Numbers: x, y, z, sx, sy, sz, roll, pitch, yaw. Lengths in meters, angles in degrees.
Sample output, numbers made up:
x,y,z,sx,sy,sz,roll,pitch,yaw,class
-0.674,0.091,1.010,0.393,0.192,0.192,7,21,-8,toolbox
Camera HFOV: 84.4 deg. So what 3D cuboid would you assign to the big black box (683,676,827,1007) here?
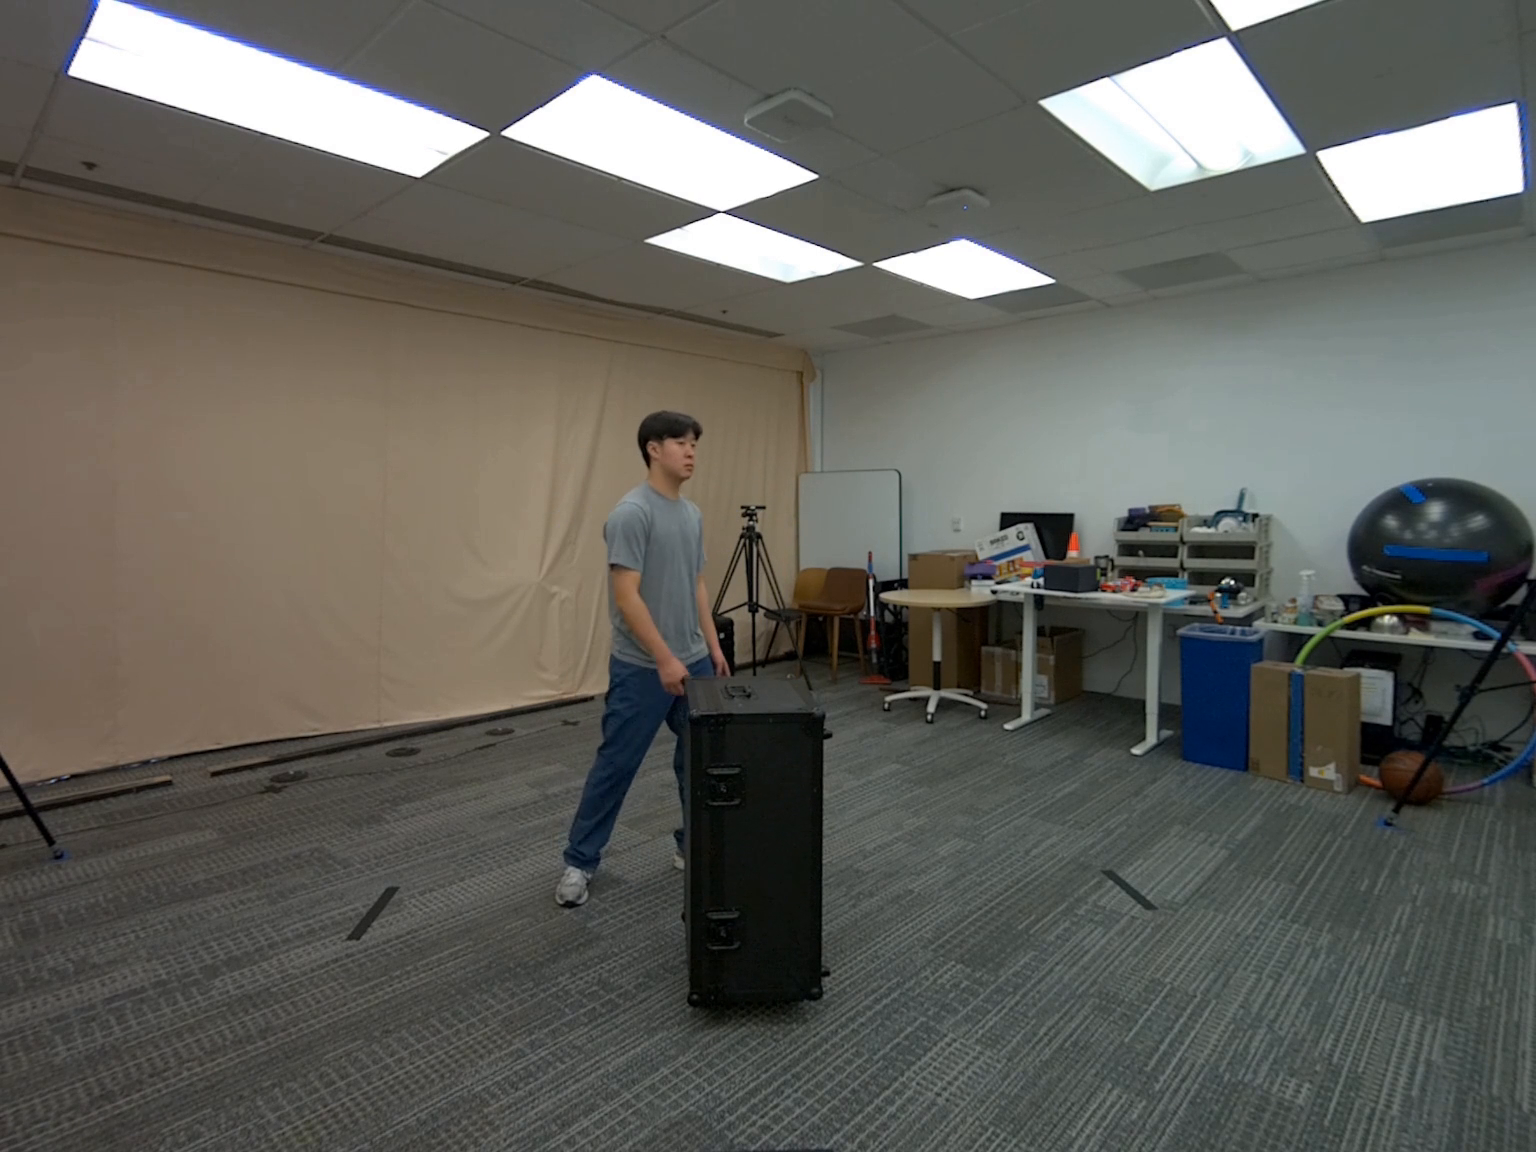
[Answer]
x,y,z,sx,sy,sz,roll,pitch,yaw,class
-0.045,0.768,2.457,0.394,0.860,0.526,1,3,-7,big black box
